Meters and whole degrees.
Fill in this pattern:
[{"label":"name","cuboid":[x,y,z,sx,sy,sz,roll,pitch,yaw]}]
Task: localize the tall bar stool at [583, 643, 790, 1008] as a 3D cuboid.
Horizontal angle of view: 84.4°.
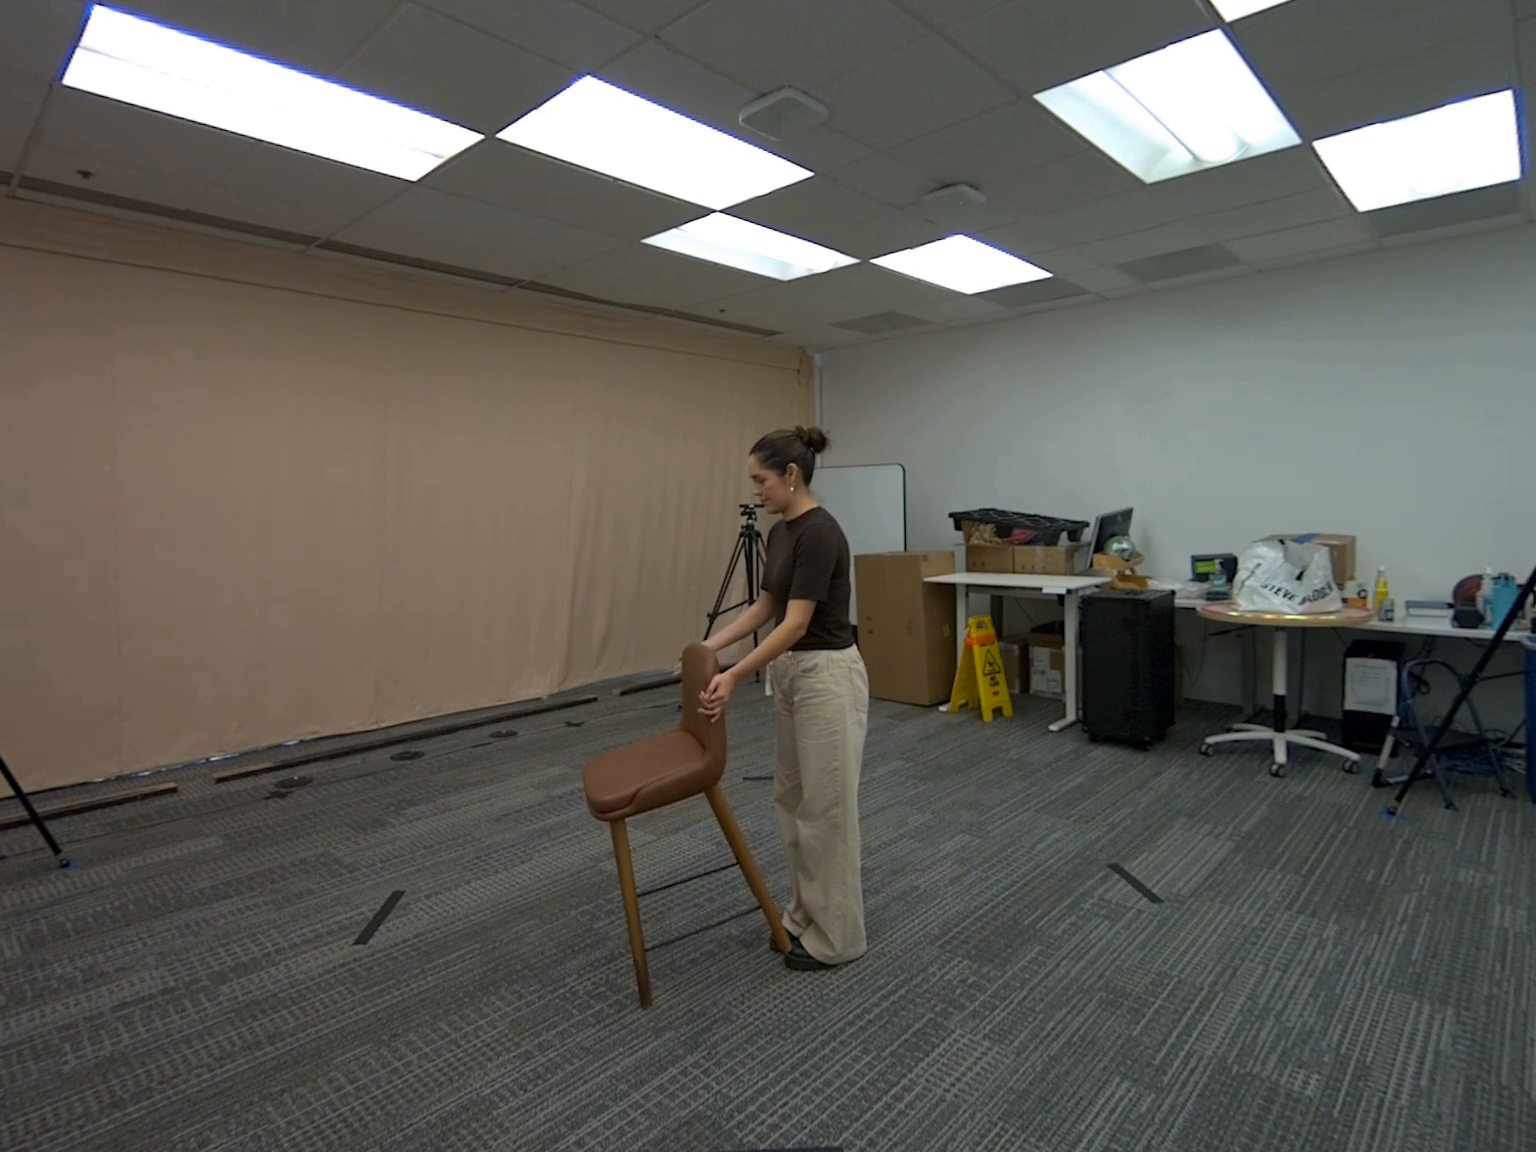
[{"label":"tall bar stool","cuboid":[-0.287,0.709,2.528,0.462,0.886,0.463,-14,5,-13]}]
